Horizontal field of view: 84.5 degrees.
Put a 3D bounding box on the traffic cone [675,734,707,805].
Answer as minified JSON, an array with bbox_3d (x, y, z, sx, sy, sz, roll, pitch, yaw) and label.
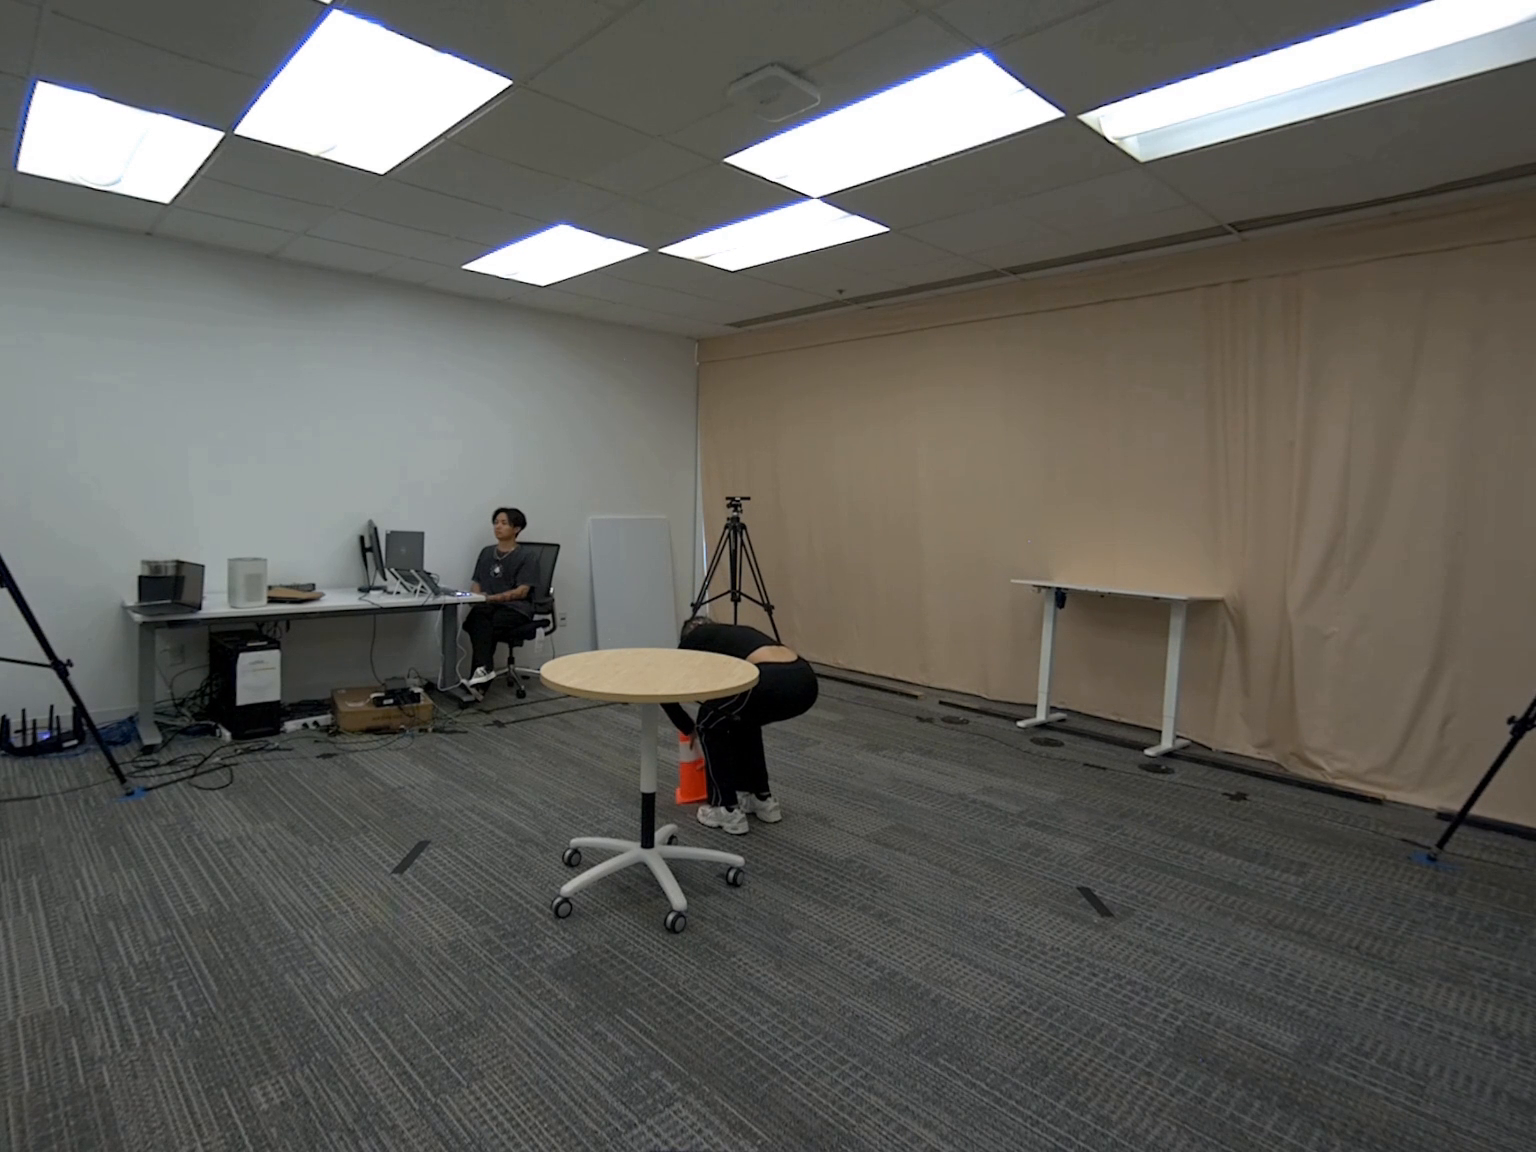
[{"bbox_3d":[-0.377,0.833,3.918,0.203,0.381,0.206,-11,7,1],"label":"traffic cone"}]
